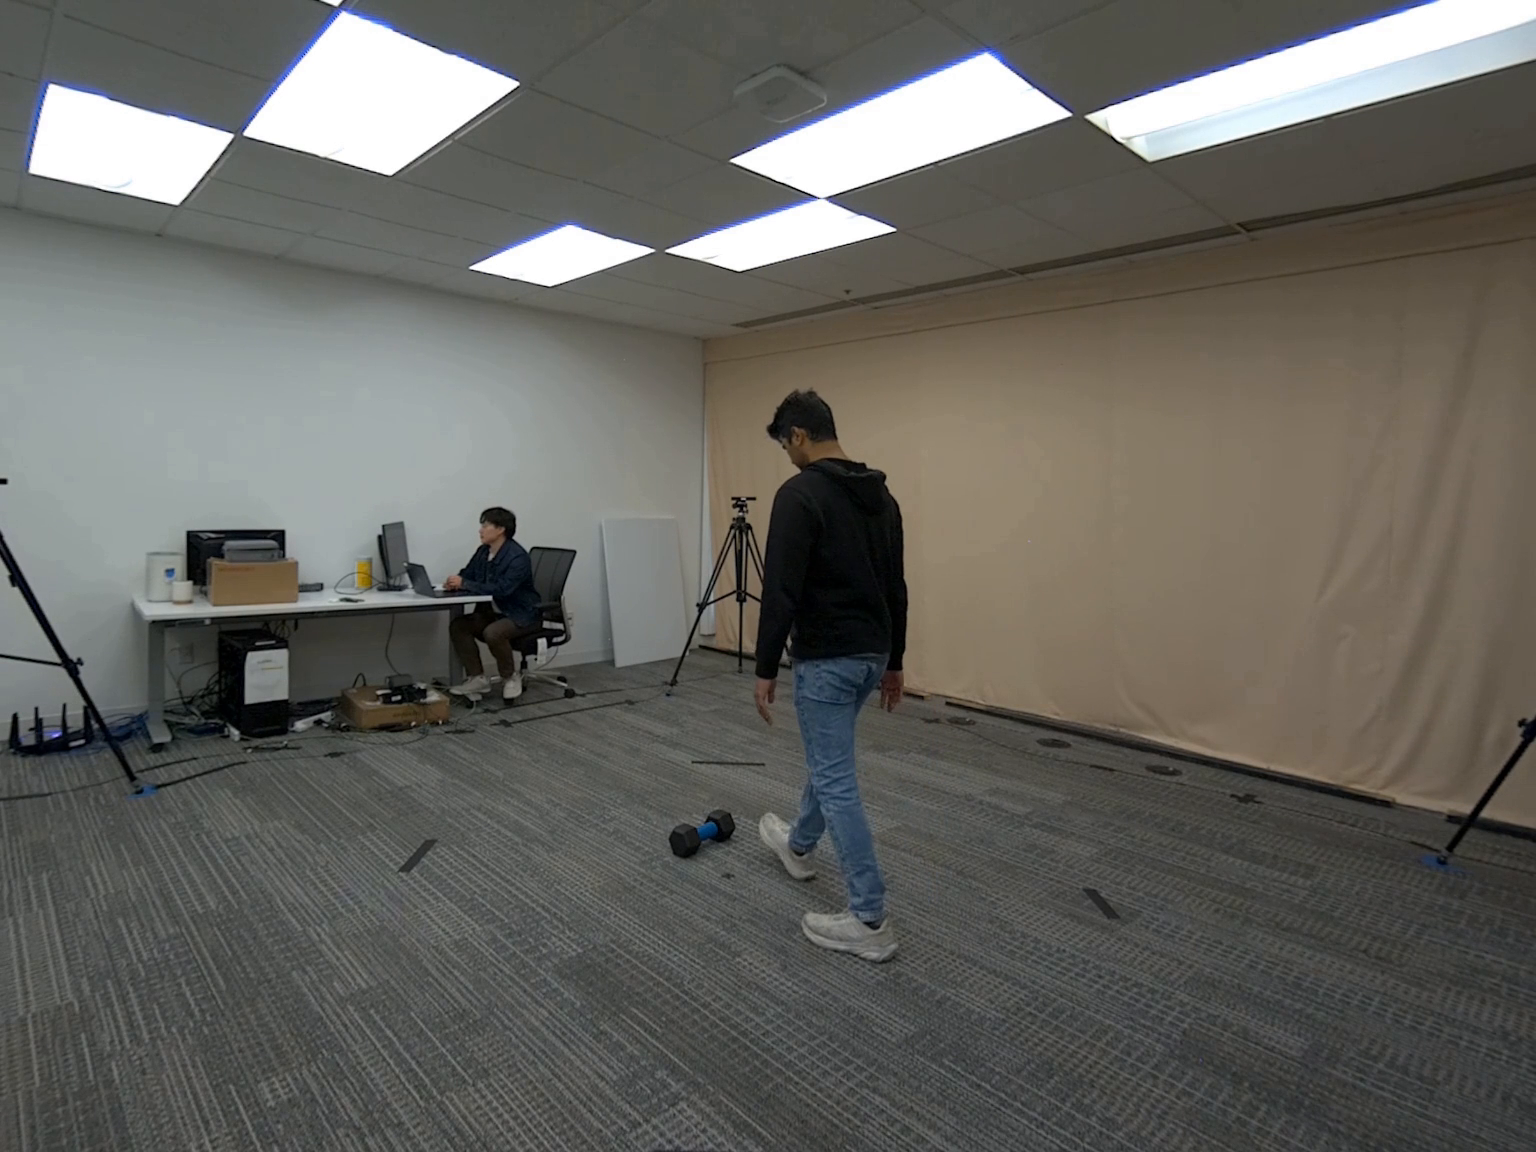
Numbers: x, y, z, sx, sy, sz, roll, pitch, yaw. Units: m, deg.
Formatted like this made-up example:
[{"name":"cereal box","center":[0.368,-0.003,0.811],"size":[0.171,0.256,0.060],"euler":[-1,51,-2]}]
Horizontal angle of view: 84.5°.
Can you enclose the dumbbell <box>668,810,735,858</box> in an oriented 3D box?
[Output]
[{"name":"dumbbell","center":[-0.270,1.026,3.359],"size":[0.112,0.122,0.287],"euler":[40,26,29]}]
